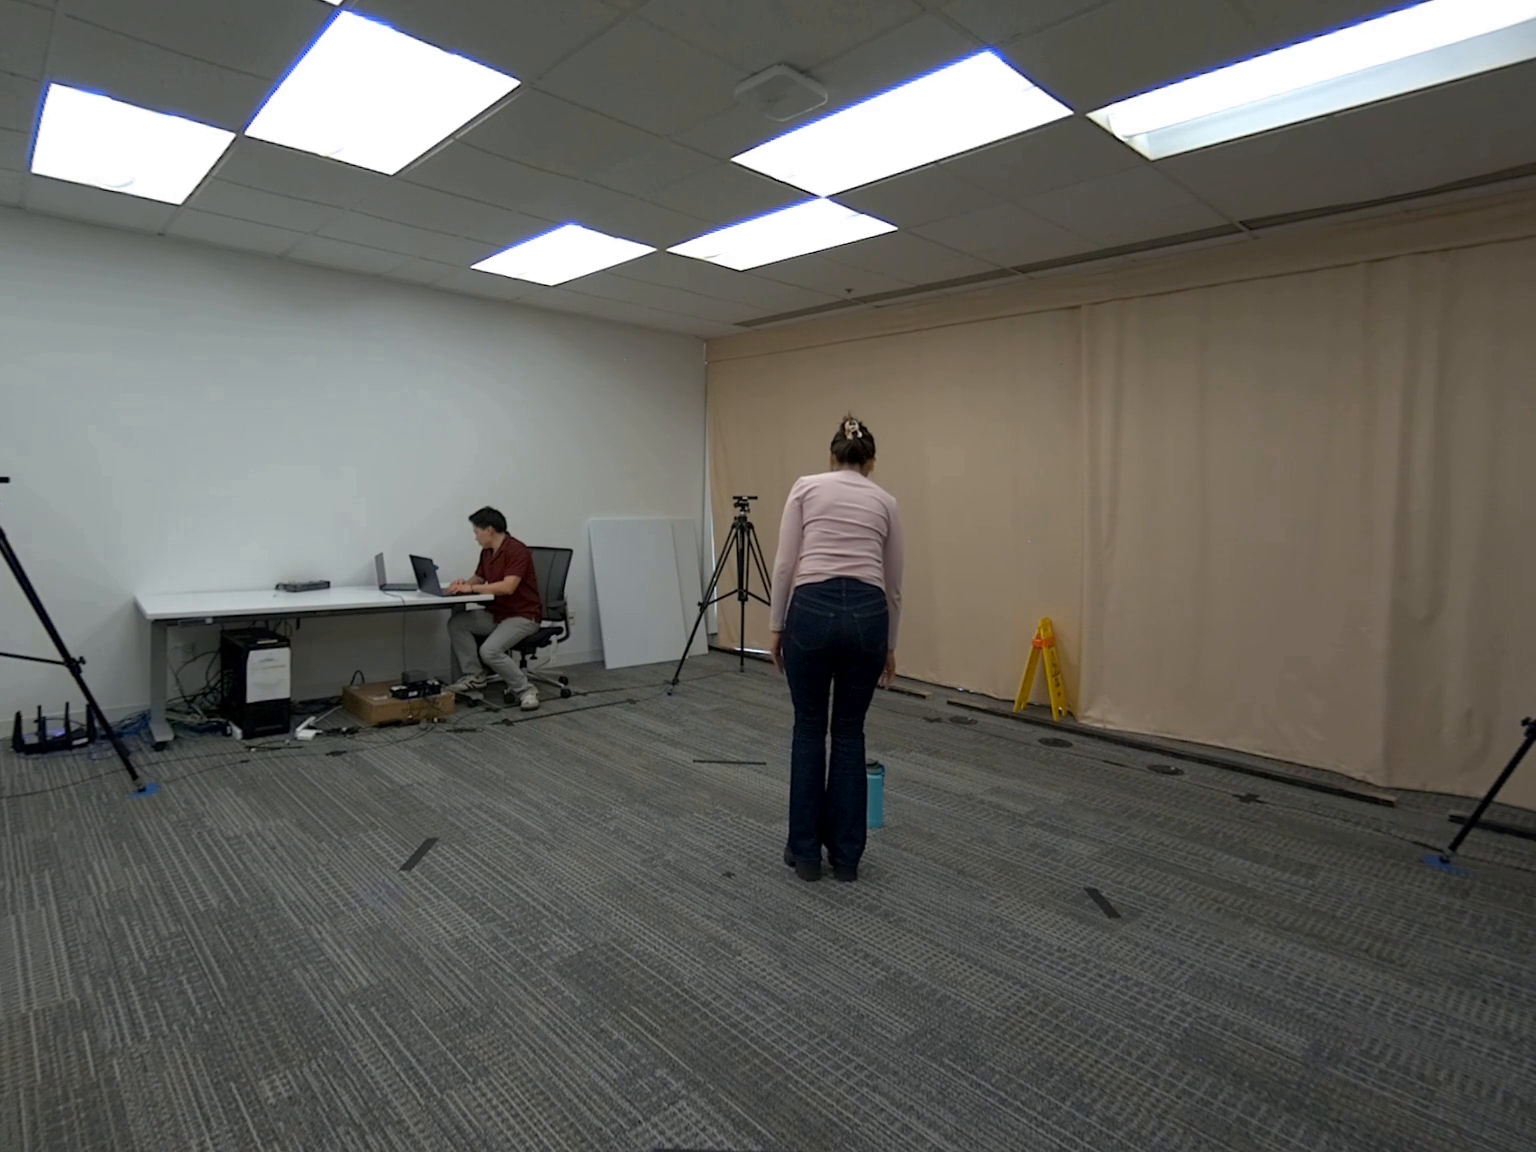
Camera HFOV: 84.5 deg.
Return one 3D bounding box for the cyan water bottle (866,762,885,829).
[{"bbox_3d":[0.448,0.932,3.628,0.092,0.283,0.092,2,1,-1],"label":"cyan water bottle"}]
